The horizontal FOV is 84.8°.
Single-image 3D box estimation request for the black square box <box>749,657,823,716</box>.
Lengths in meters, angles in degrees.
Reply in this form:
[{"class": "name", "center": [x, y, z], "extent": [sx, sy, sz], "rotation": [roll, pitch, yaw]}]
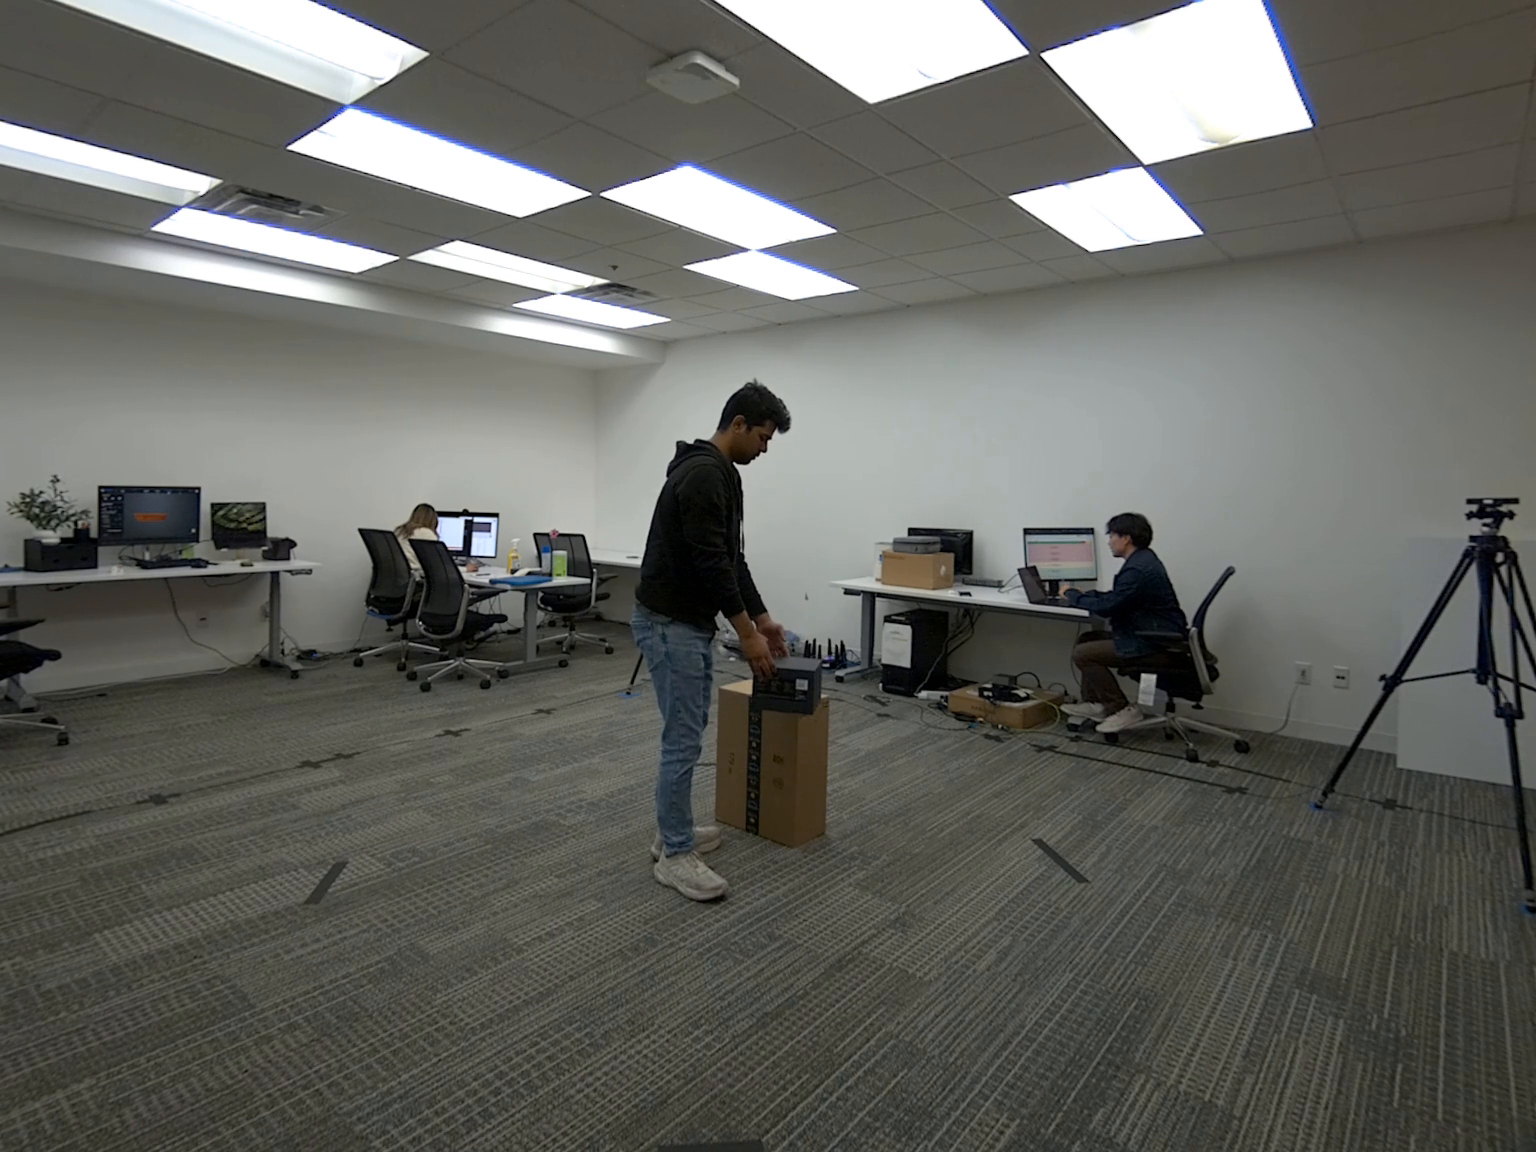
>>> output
[{"class": "black square box", "center": [0.064, 0.393, 3.035], "extent": [0.220, 0.155, 0.226], "rotation": [3, 4, 11]}]
